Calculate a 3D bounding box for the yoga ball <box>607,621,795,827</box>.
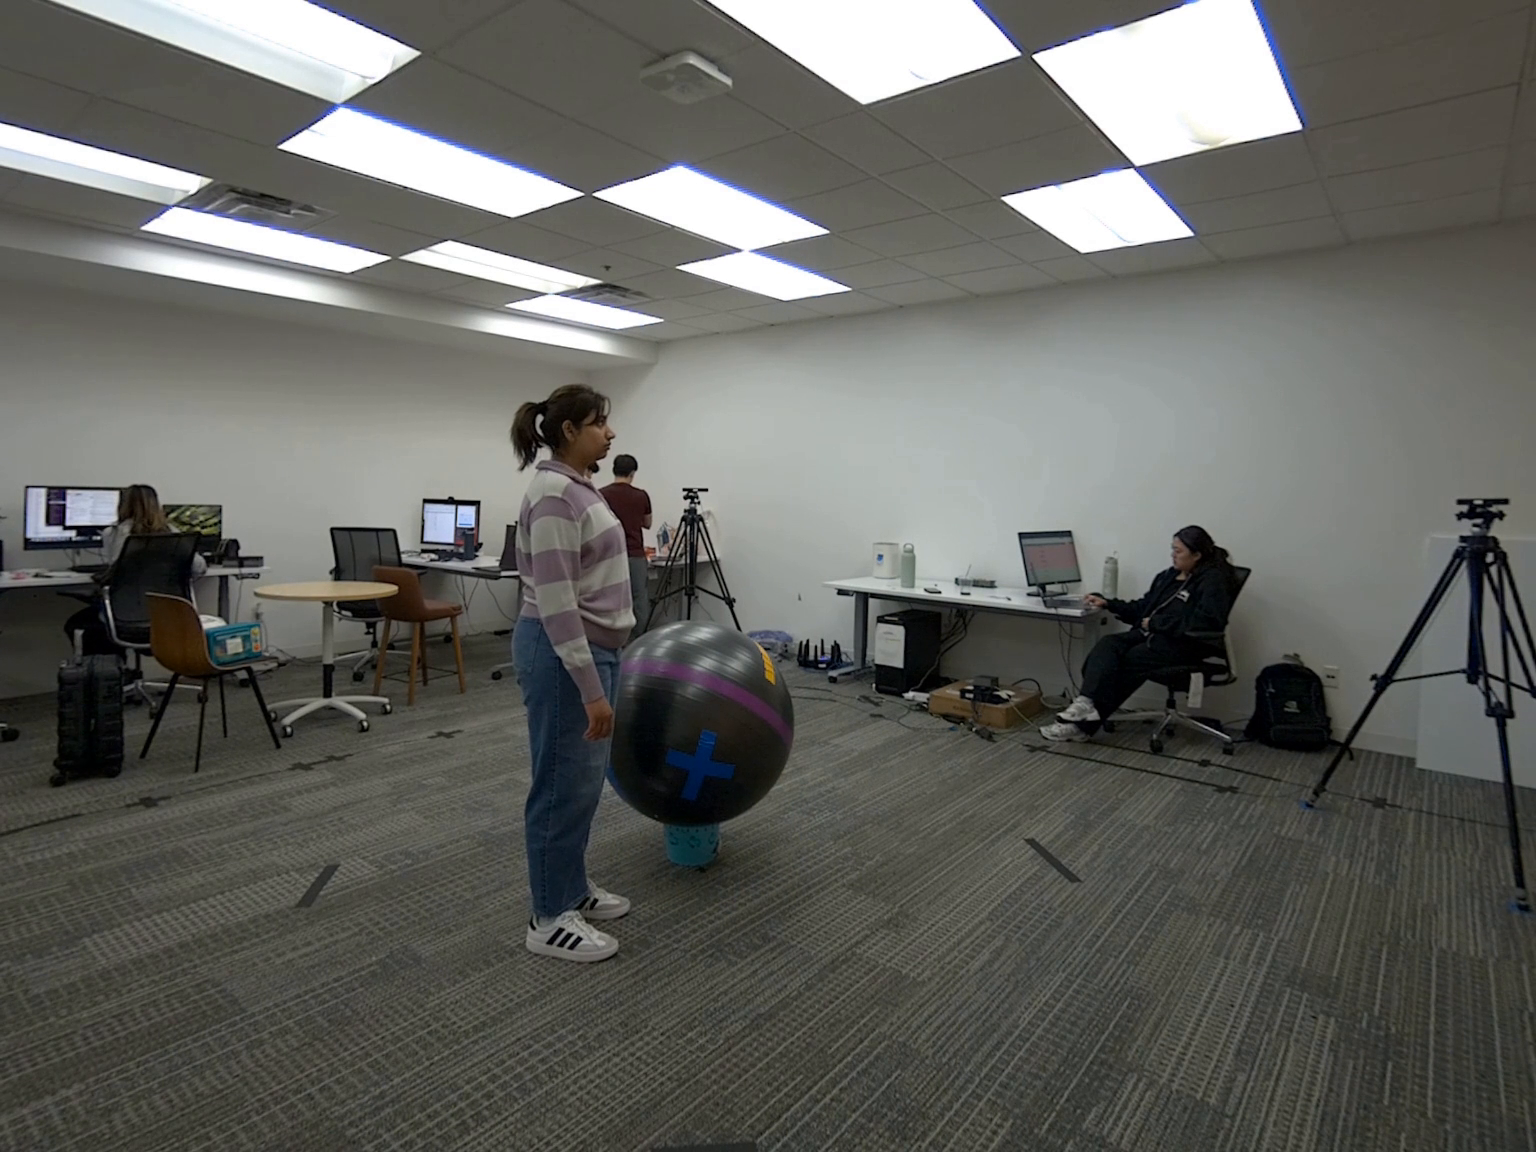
[{"bbox_3d":[-0.286,0.549,3.207,0.757,0.756,0.762,1,4,-2],"label":"yoga ball"}]
